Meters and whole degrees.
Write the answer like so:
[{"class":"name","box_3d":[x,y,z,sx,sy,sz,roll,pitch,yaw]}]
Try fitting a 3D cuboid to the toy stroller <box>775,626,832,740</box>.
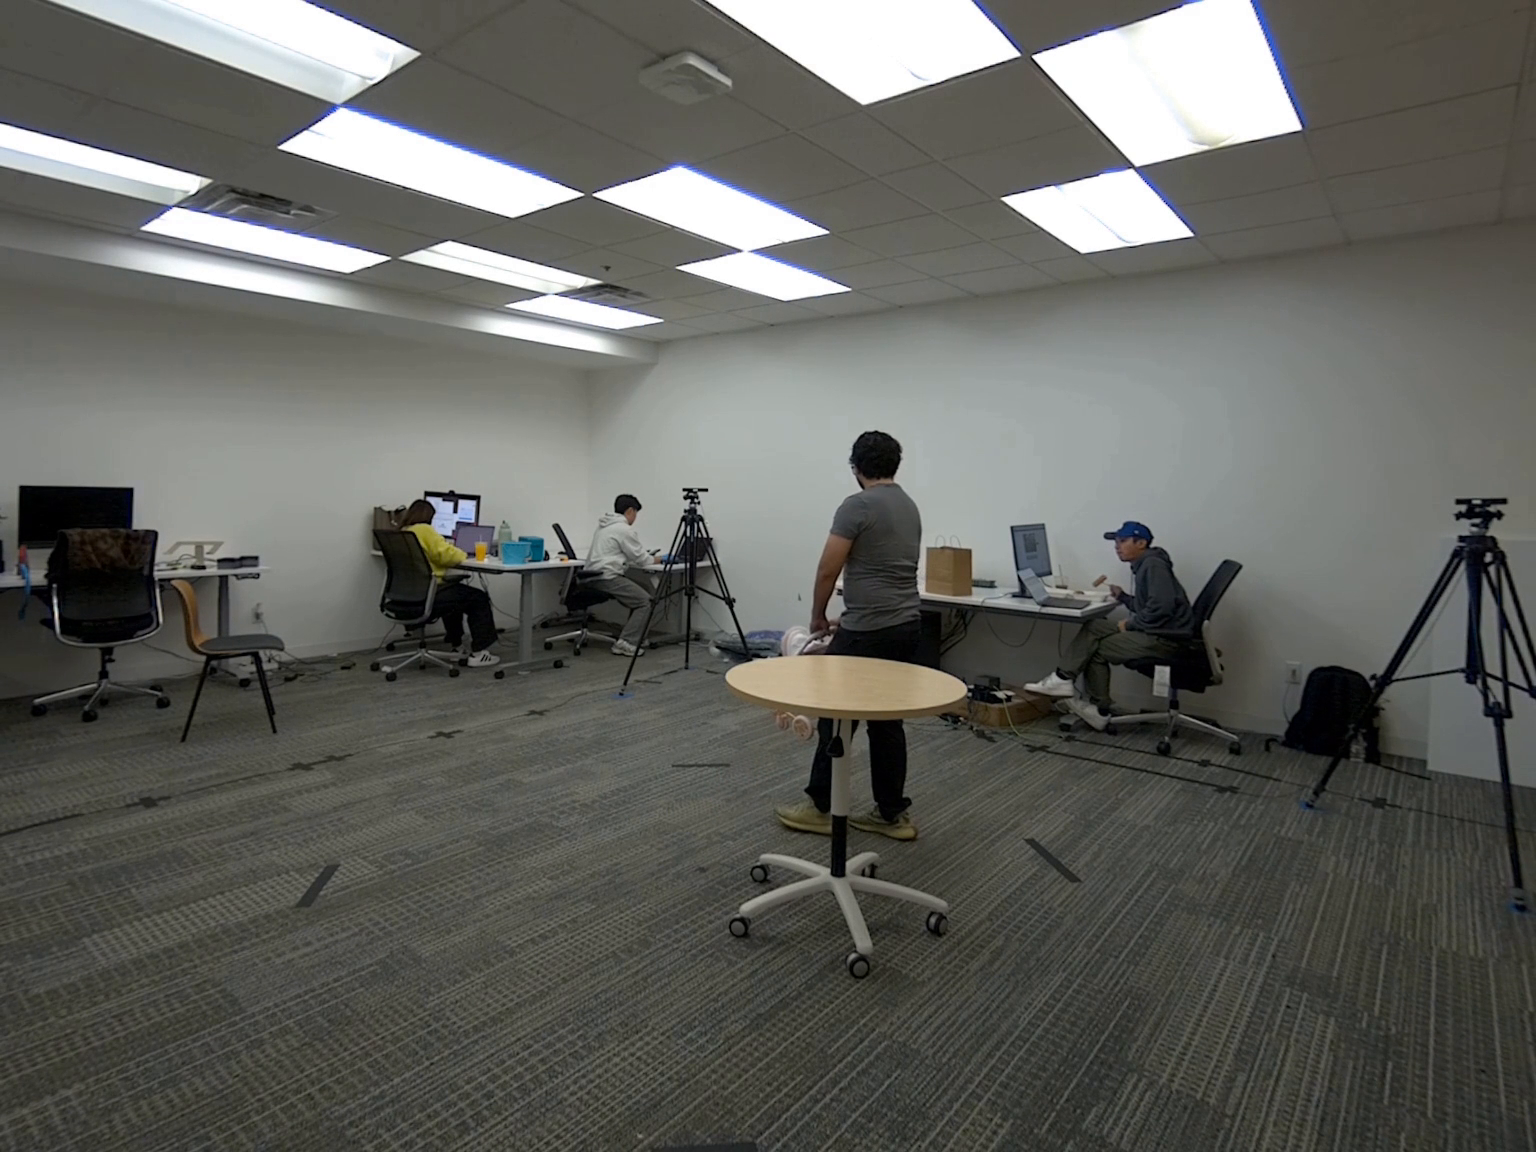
[{"class":"toy stroller","box_3d":[0.141,0.464,3.797,0.274,0.530,0.354,-9,13,-40]}]
